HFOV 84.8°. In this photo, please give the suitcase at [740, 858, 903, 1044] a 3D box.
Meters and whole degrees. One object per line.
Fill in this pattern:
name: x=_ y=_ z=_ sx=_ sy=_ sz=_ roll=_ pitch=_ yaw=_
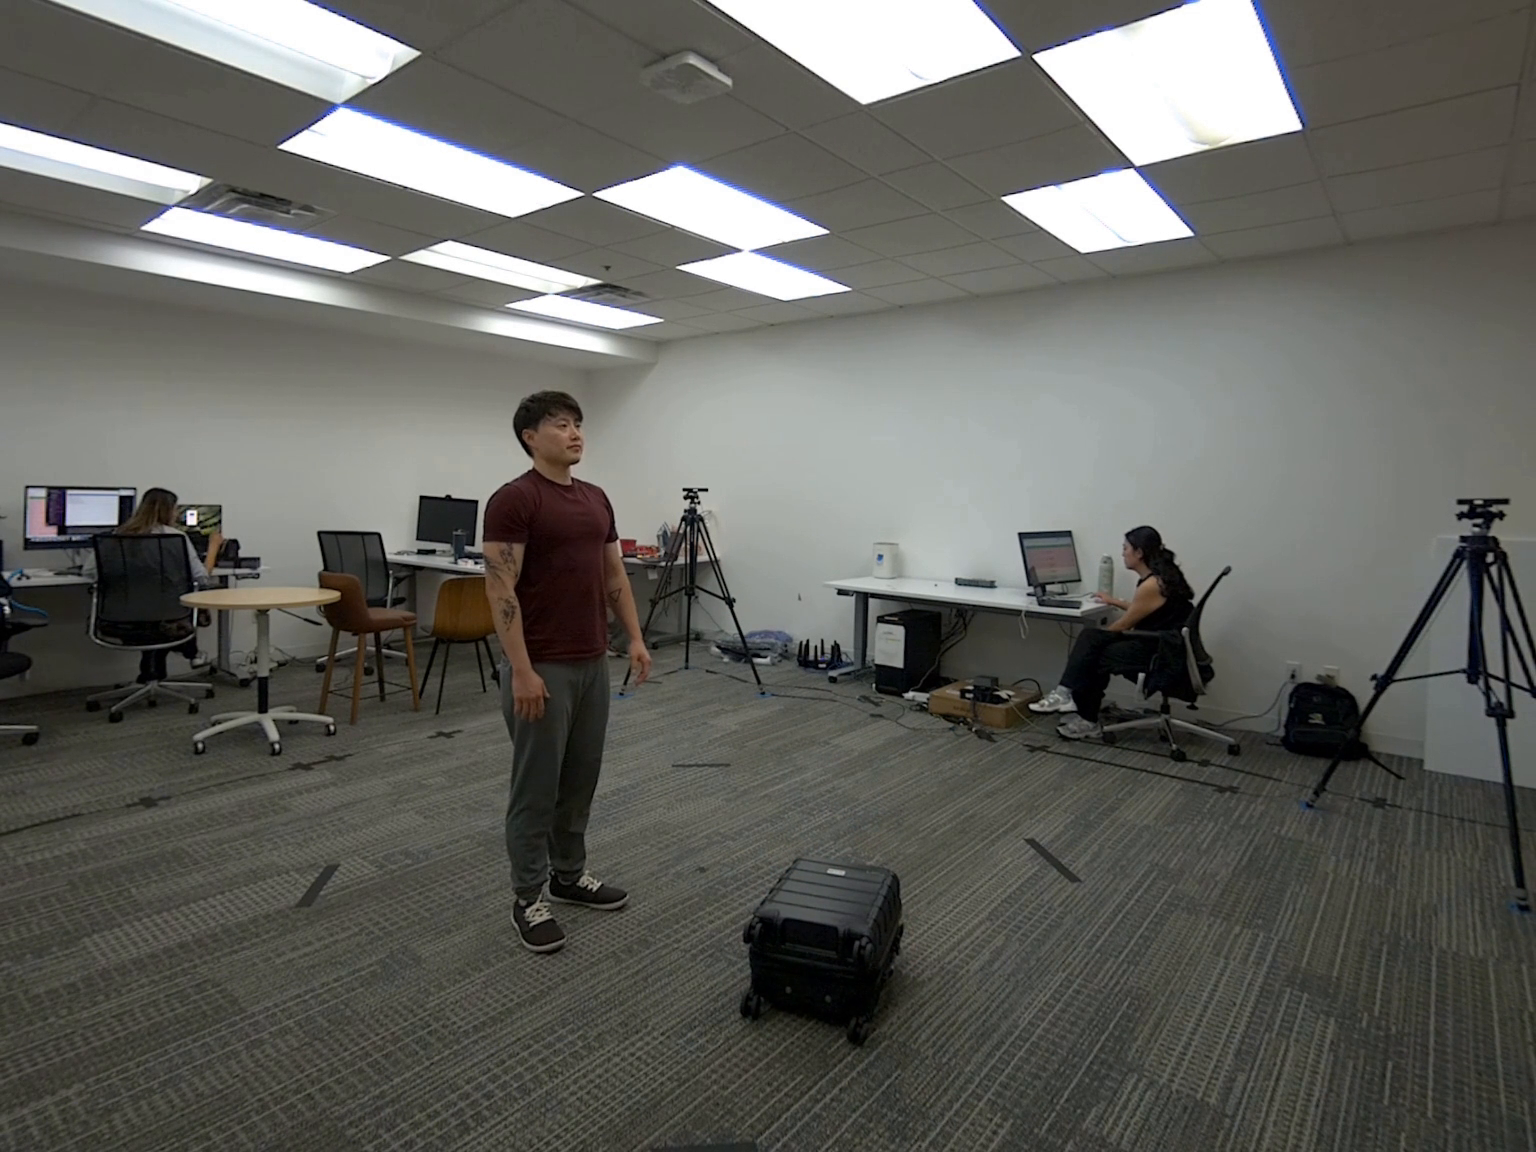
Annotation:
suitcase: x=0.225 y=0.999 z=2.624 sx=0.391 sy=0.256 sz=0.962 roll=1 pitch=5 yaw=18
